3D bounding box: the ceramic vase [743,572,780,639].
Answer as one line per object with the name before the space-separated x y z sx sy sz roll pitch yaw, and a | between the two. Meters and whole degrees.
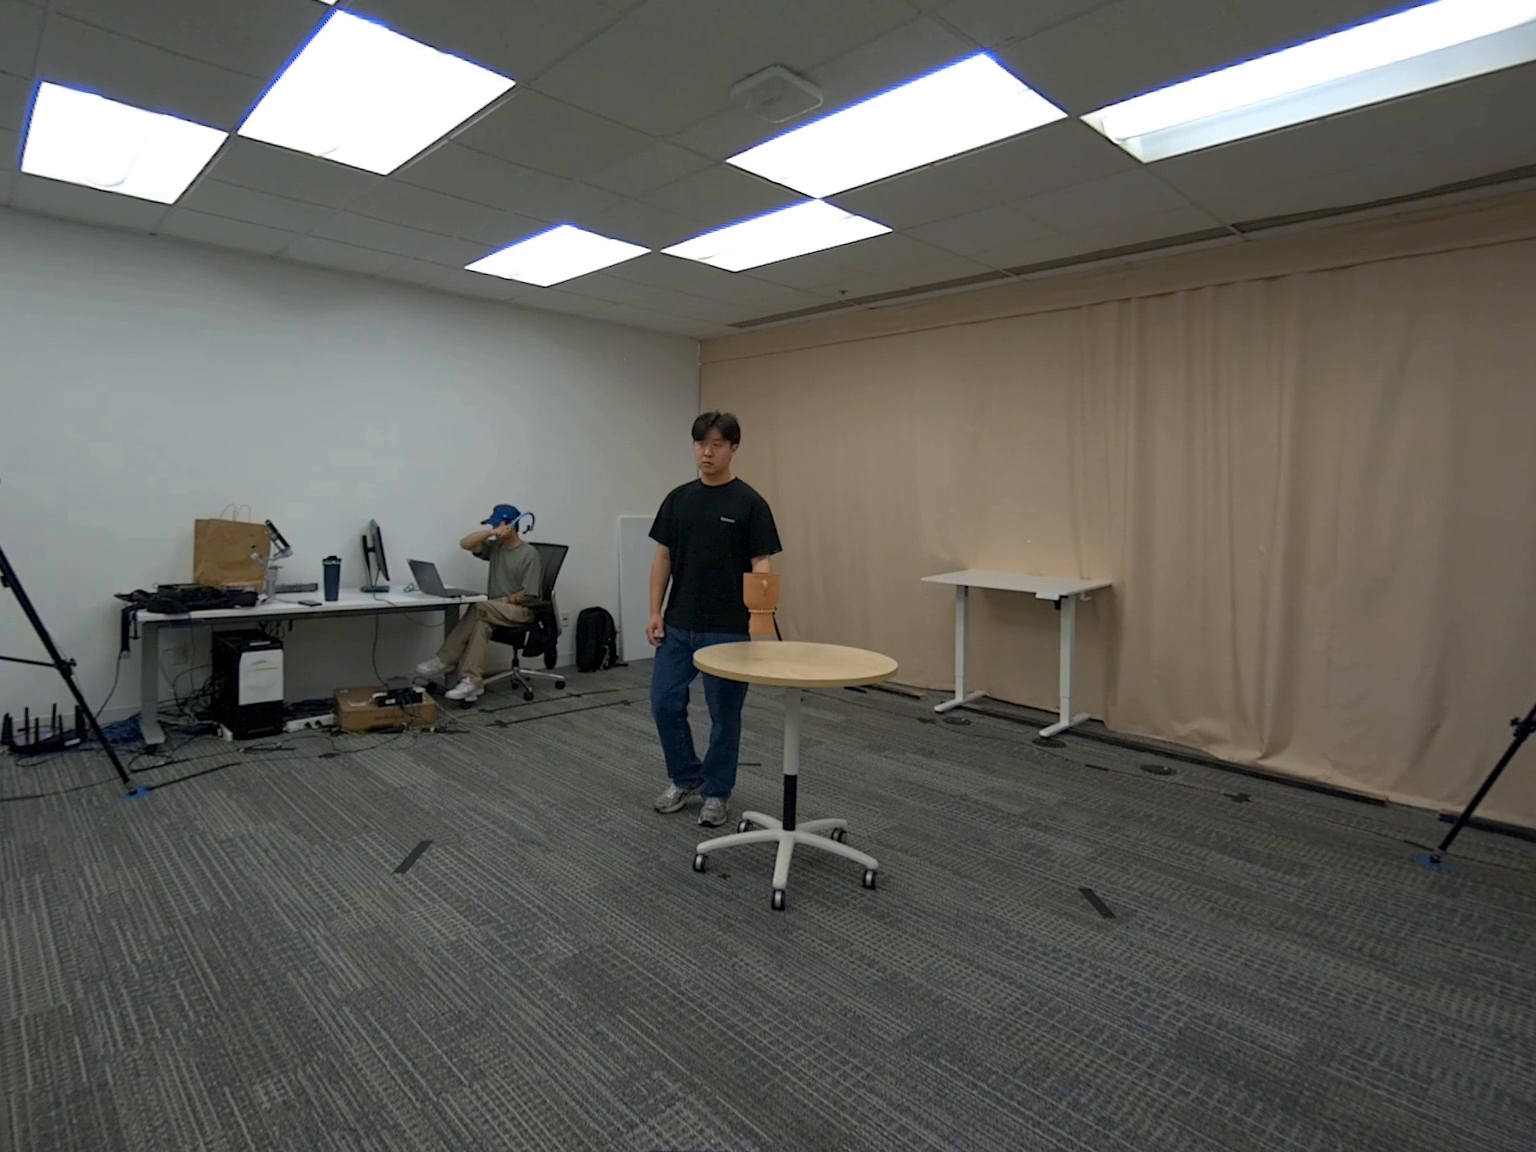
ceramic vase | -0.039 0.106 3.119 0.137 0.219 0.156 1 3 28
